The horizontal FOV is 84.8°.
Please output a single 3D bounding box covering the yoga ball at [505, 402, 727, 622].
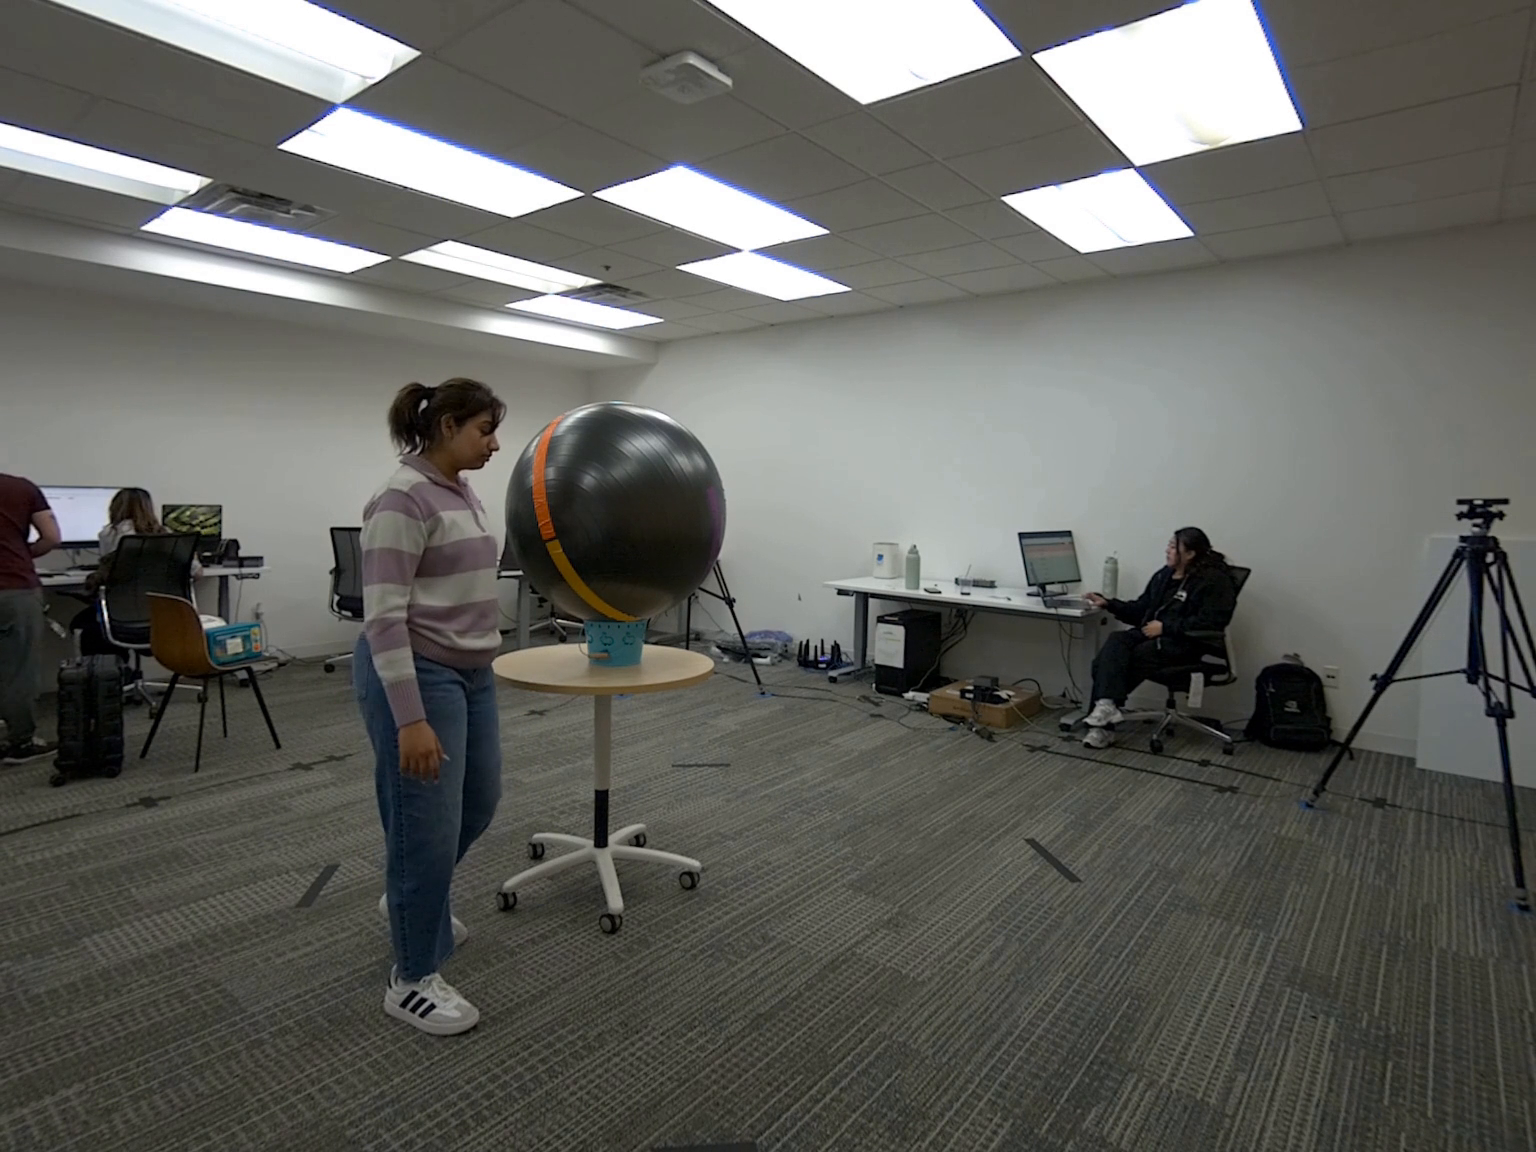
[{"bbox_3d":[-0.531,-0.214,2.932,0.757,0.755,0.762,1,4,-2],"label":"yoga ball"}]
